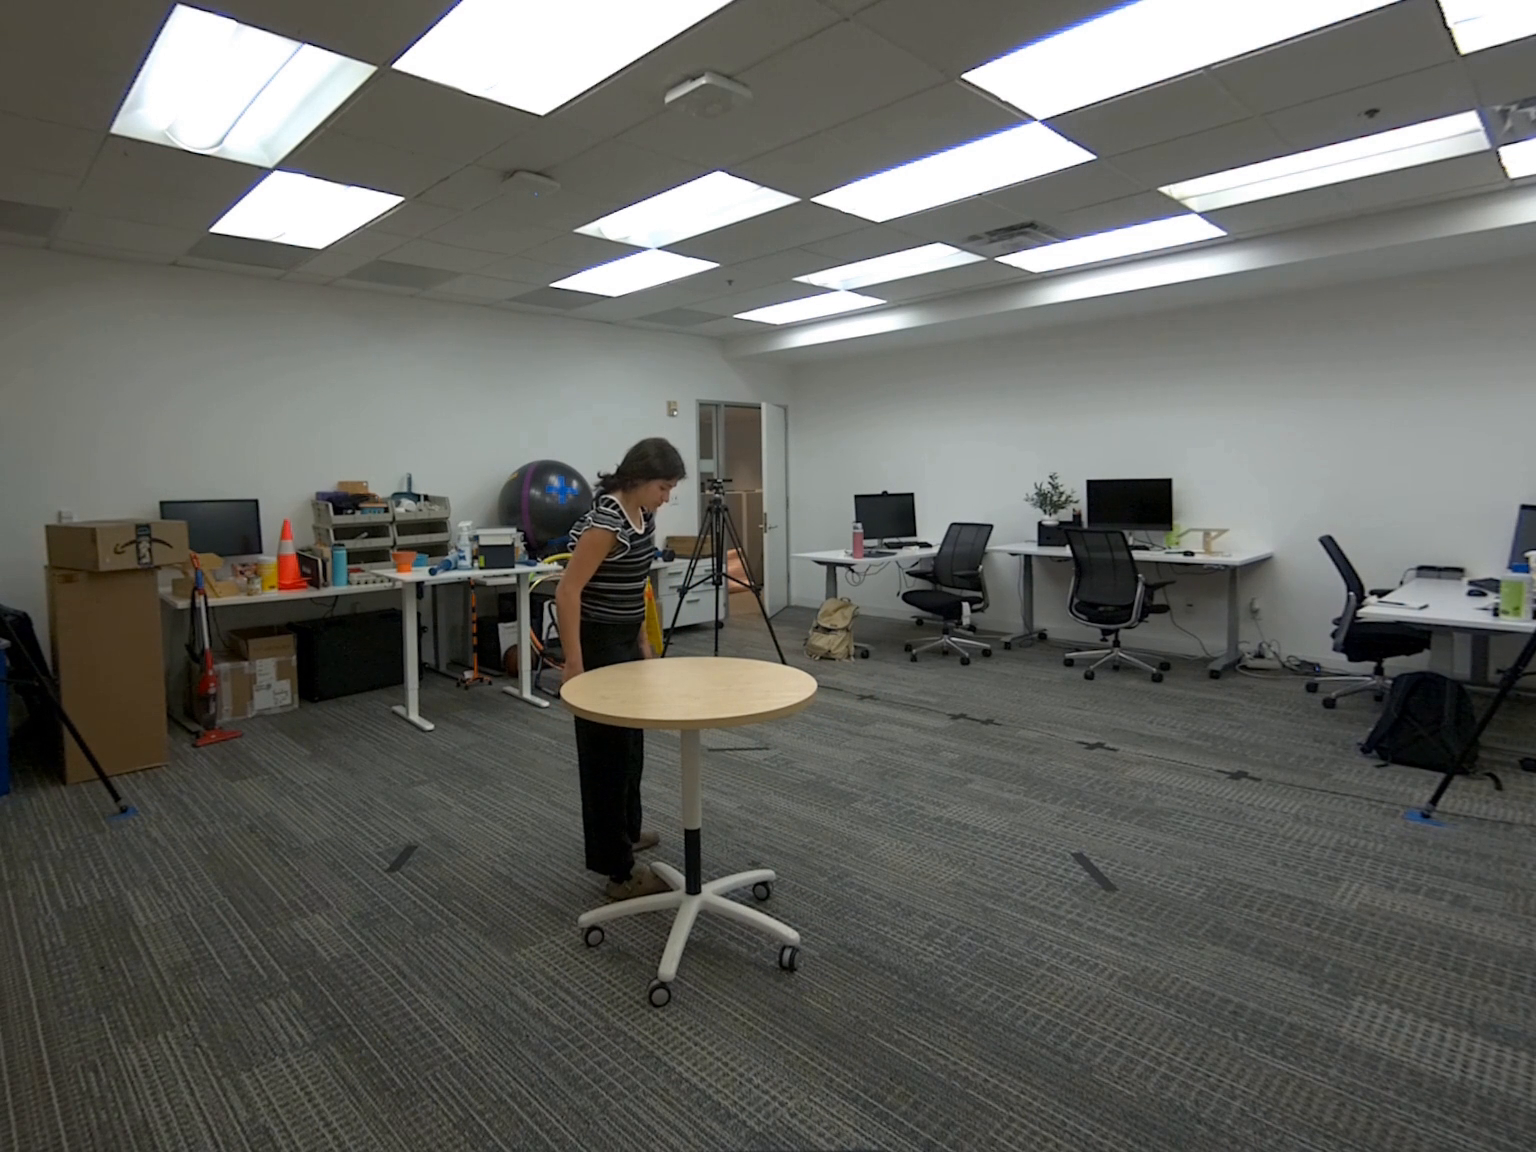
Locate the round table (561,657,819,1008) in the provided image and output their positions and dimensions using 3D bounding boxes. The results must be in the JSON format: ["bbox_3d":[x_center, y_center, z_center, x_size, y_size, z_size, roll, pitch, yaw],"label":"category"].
[{"bbox_3d":[-0.230,0.716,2.580,0.784,0.783,0.789,-1,5,-2],"label":"round table"}]
